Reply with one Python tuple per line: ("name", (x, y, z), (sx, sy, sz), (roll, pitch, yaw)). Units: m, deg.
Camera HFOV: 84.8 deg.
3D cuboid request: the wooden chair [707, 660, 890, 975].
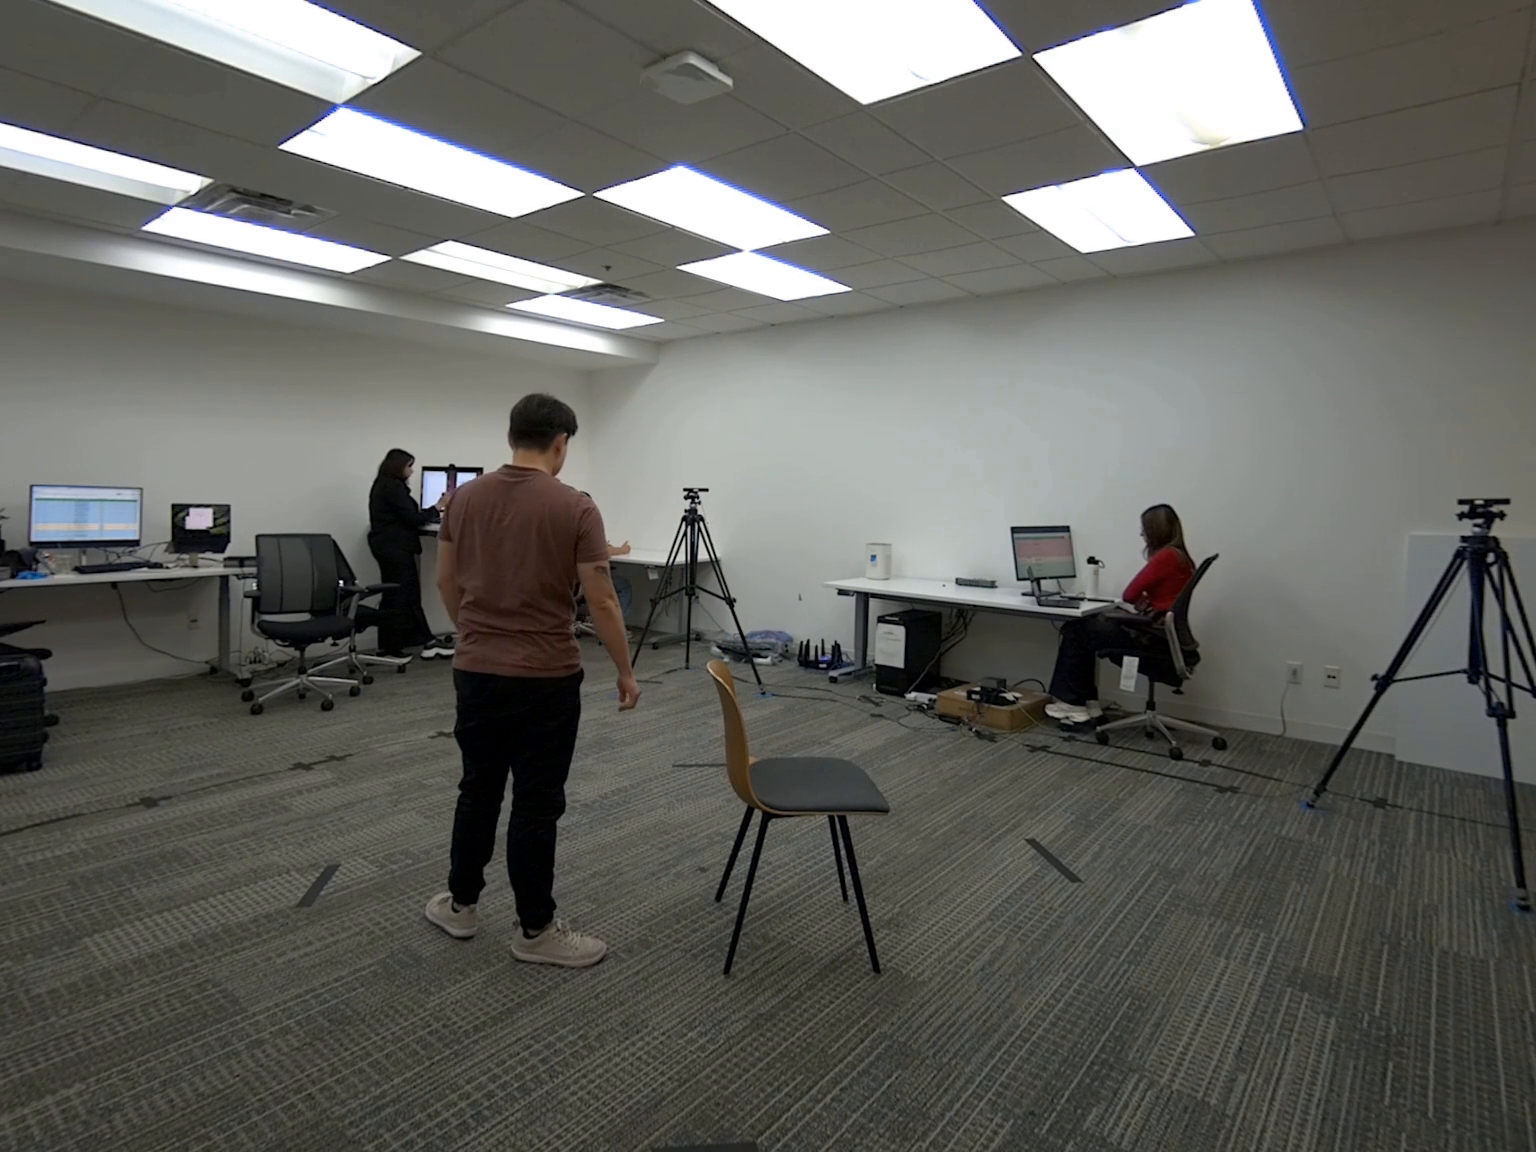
("wooden chair", (0.086, 0.696, 2.643), (0.521, 0.875, 0.481), (-3, 3, -5))
